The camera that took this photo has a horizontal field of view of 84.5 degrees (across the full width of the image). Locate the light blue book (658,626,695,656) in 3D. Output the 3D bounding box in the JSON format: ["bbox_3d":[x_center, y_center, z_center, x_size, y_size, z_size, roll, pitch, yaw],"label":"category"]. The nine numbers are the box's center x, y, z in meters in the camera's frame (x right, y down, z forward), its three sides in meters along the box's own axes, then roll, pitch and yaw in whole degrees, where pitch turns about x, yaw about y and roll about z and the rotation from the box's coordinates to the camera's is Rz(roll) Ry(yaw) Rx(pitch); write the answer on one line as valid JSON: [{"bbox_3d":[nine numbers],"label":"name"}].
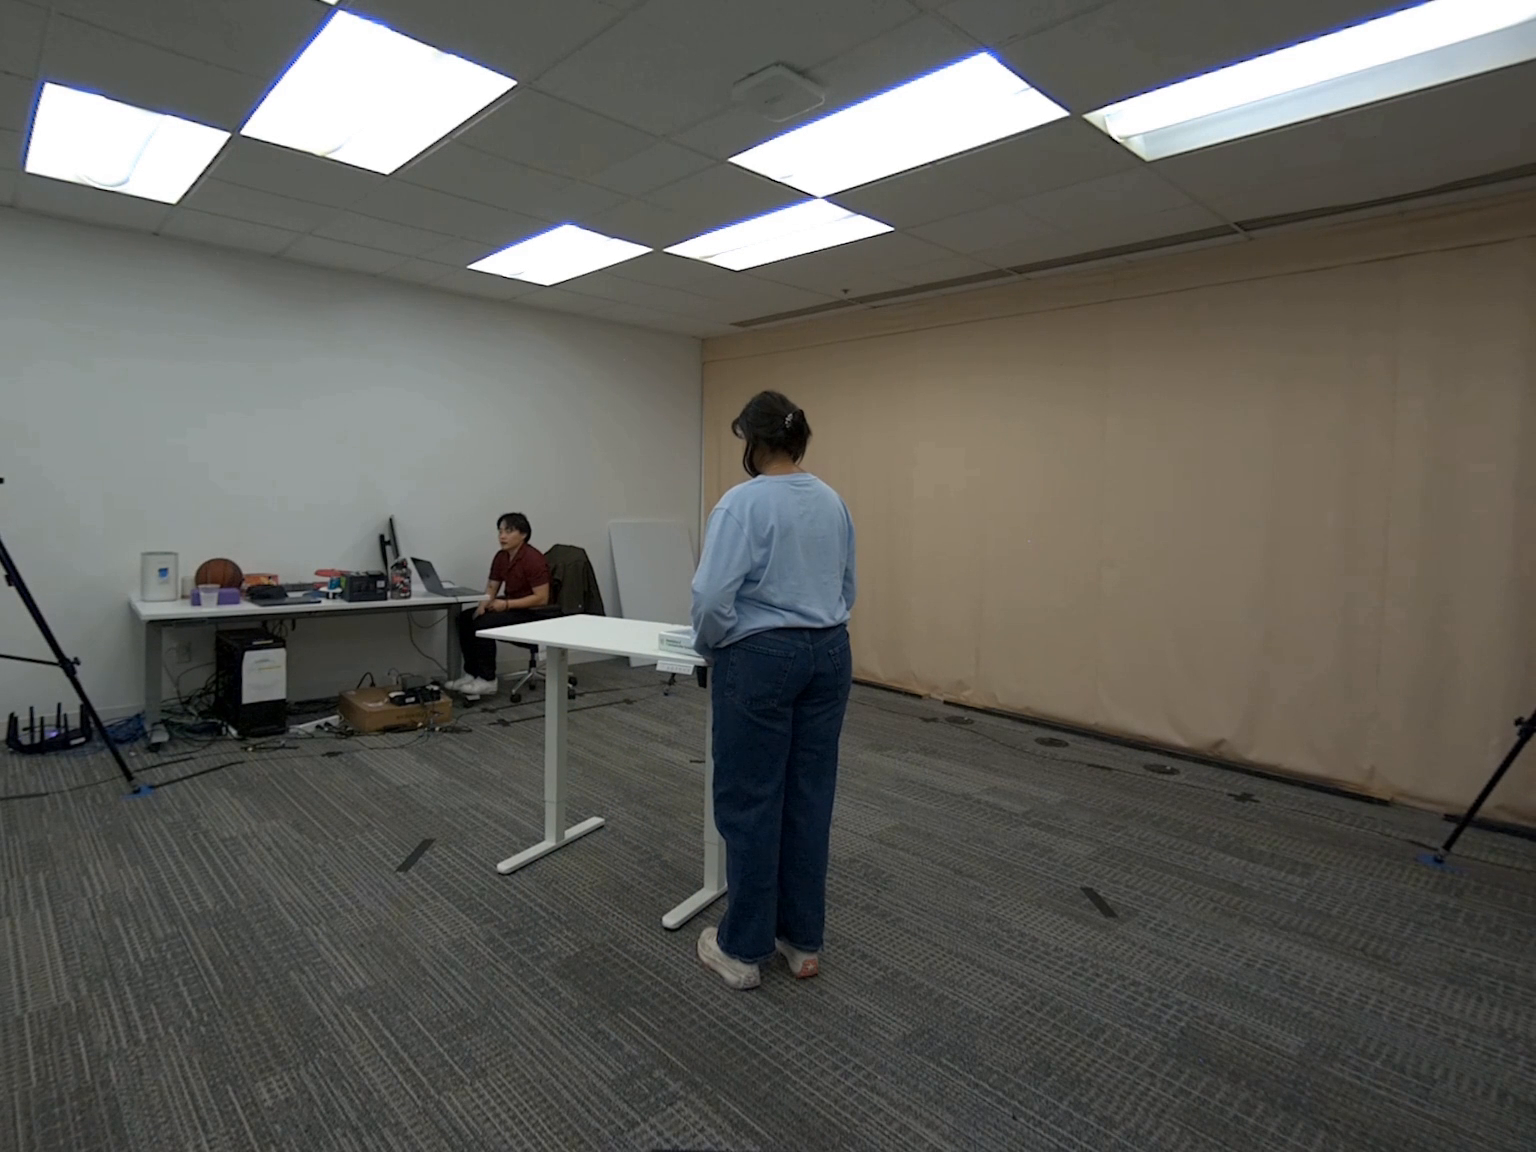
[{"bbox_3d":[-0.212,0.219,2.757,0.187,0.059,0.267,-5,7,-45],"label":"light blue book"}]
